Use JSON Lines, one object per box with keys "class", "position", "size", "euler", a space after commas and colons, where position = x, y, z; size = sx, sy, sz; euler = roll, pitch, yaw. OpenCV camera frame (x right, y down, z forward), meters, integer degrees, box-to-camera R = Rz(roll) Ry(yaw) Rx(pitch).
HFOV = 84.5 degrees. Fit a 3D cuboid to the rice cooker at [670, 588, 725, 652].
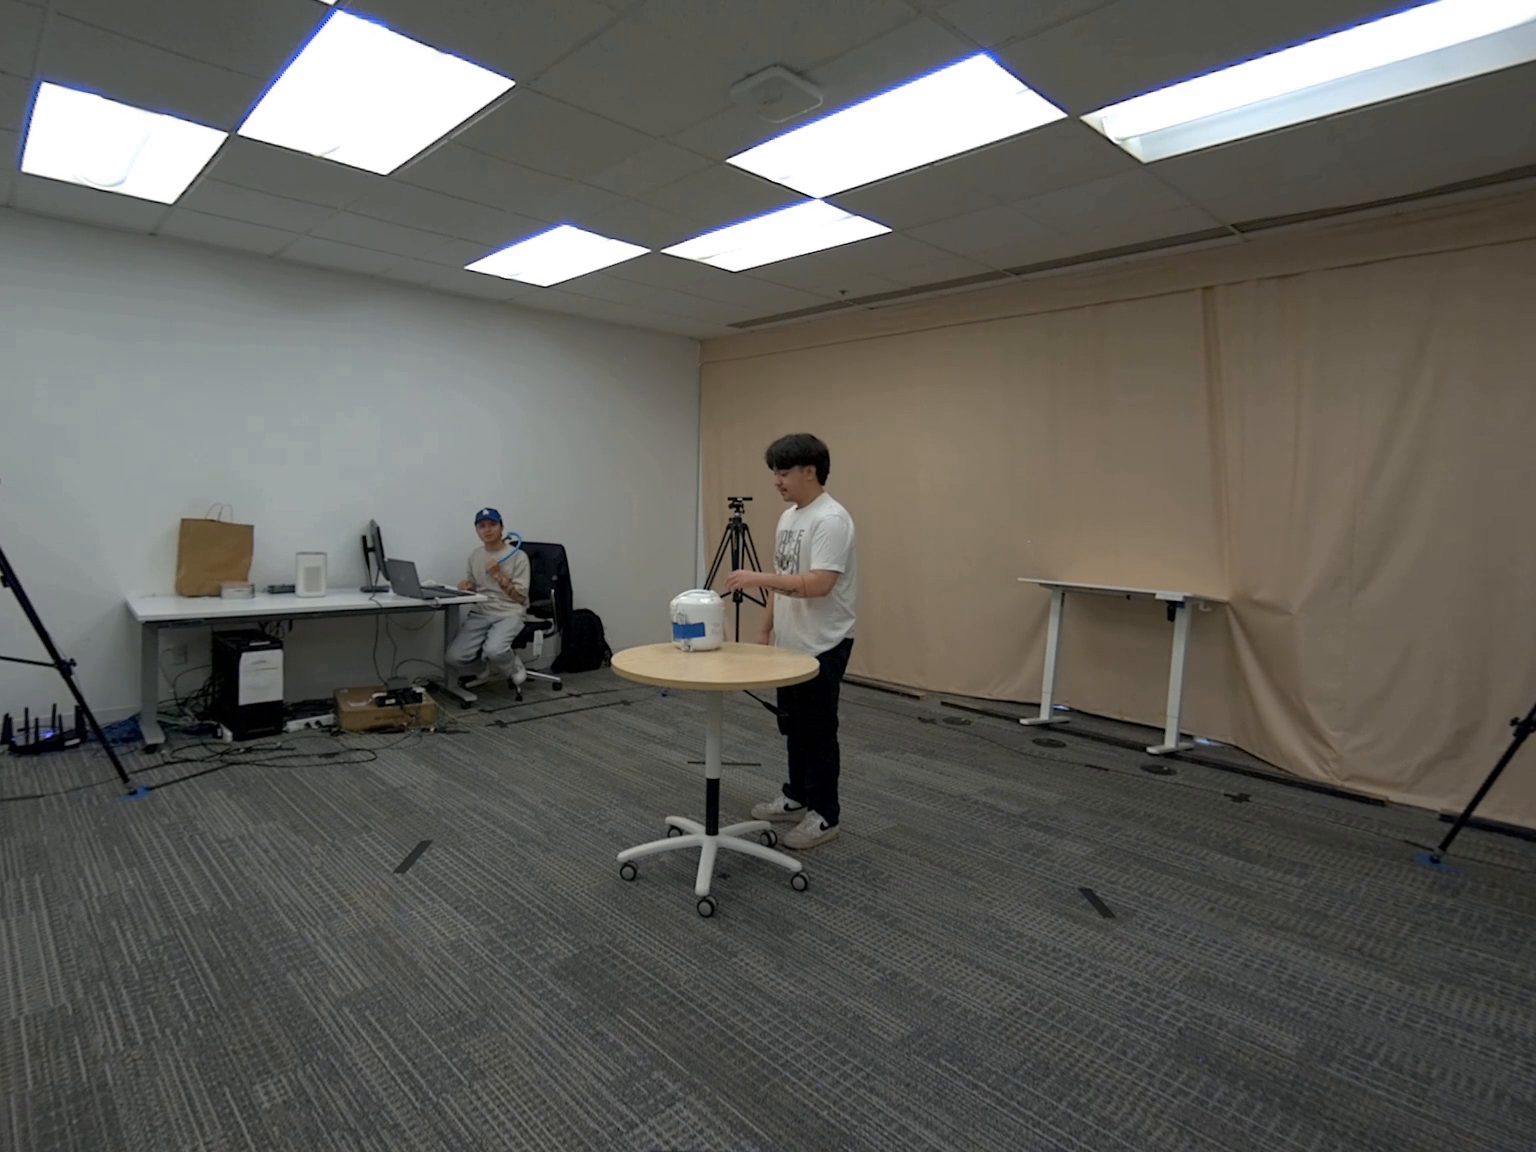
{"class": "rice cooker", "position": [-0.287, 0.168, 3.338], "size": [0.217, 0.232, 0.222], "euler": [1, 5, -22]}
